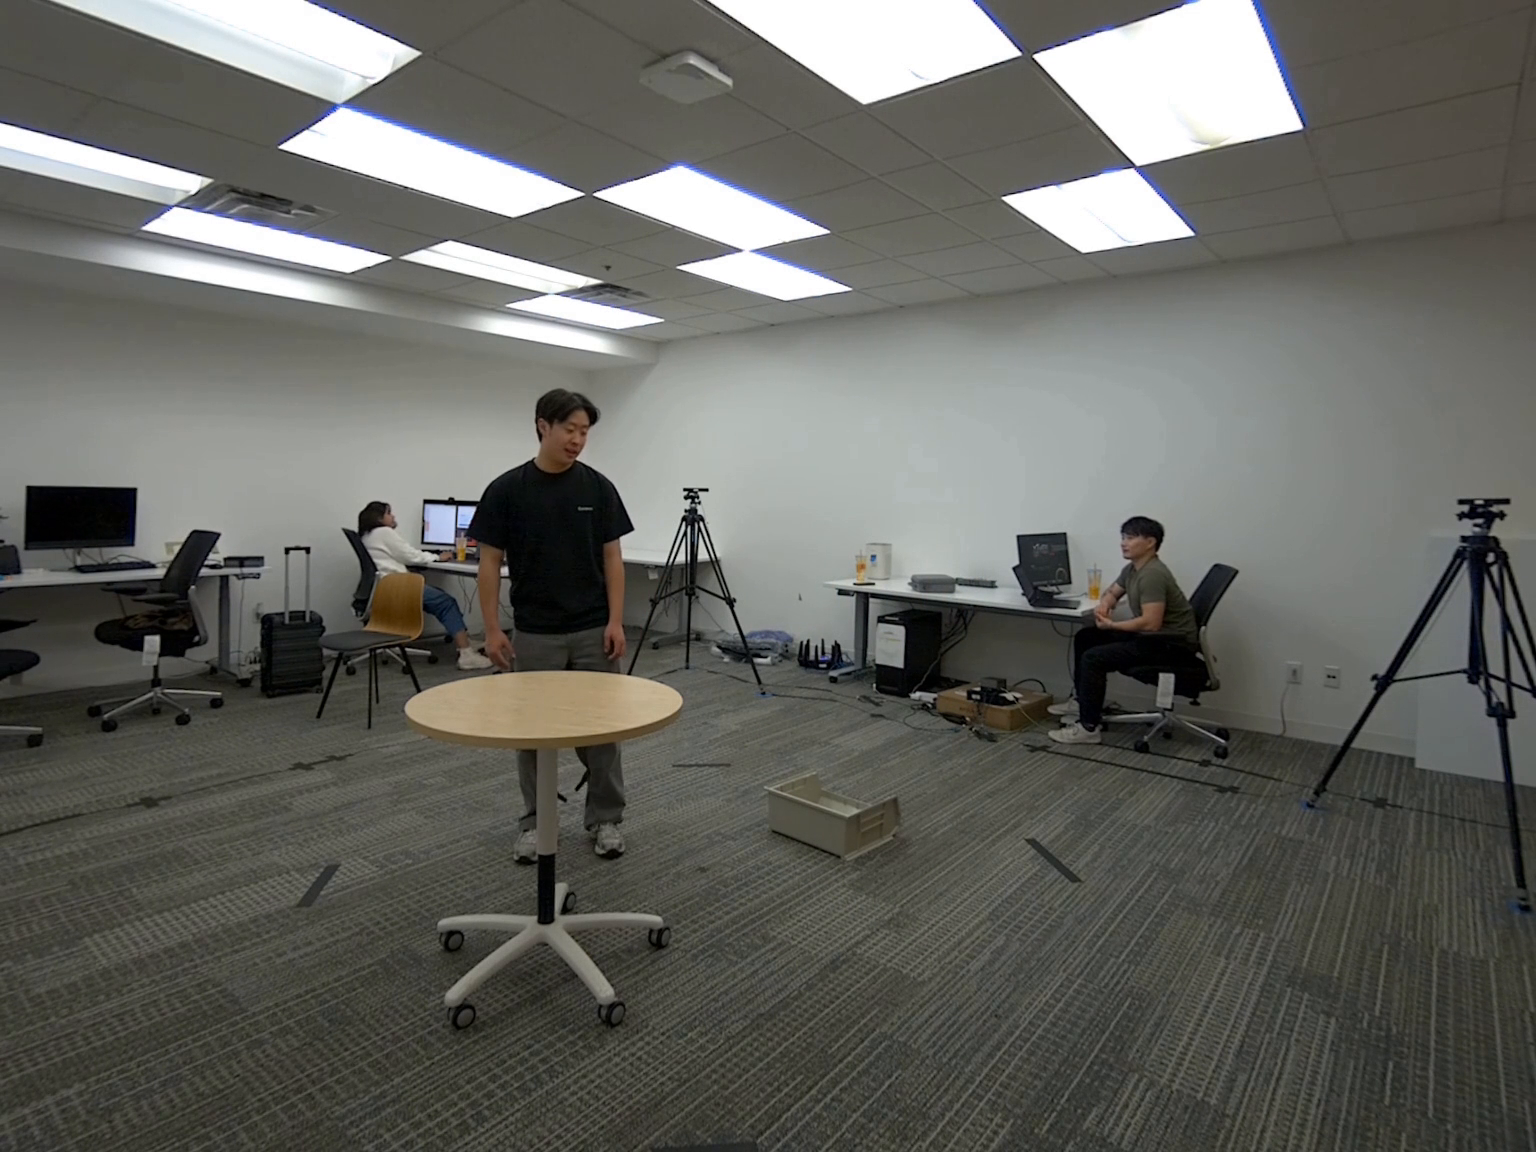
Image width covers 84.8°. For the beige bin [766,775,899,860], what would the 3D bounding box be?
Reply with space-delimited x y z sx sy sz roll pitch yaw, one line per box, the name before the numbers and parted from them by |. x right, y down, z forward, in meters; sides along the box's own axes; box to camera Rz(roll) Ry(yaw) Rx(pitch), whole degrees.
beige bin | 0.253 0.956 3.459 0.437 0.188 0.366 6 8 42
